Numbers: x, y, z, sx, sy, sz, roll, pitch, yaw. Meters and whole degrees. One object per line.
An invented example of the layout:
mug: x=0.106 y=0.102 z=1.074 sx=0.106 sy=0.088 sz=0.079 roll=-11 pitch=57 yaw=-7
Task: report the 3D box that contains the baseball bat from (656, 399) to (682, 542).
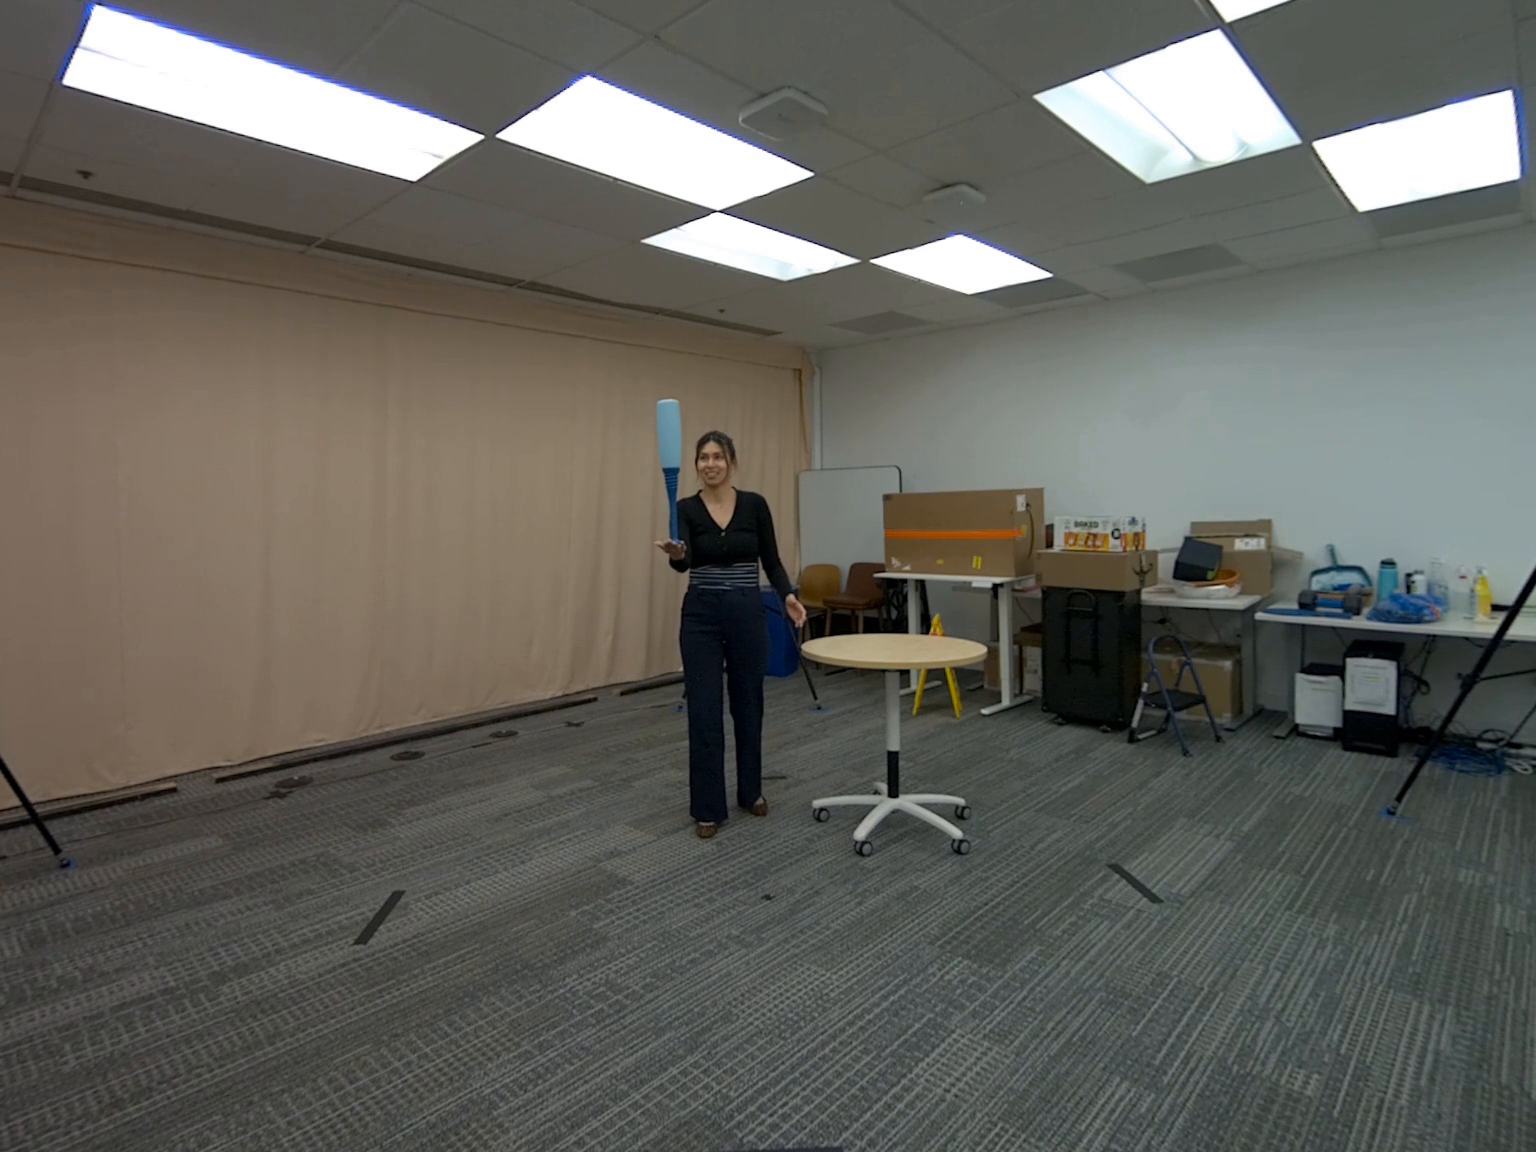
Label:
baseball bat: x=-0.357 y=-0.379 z=3.129 sx=0.089 sy=0.543 sz=0.089 roll=-2 pitch=1 yaw=-2
